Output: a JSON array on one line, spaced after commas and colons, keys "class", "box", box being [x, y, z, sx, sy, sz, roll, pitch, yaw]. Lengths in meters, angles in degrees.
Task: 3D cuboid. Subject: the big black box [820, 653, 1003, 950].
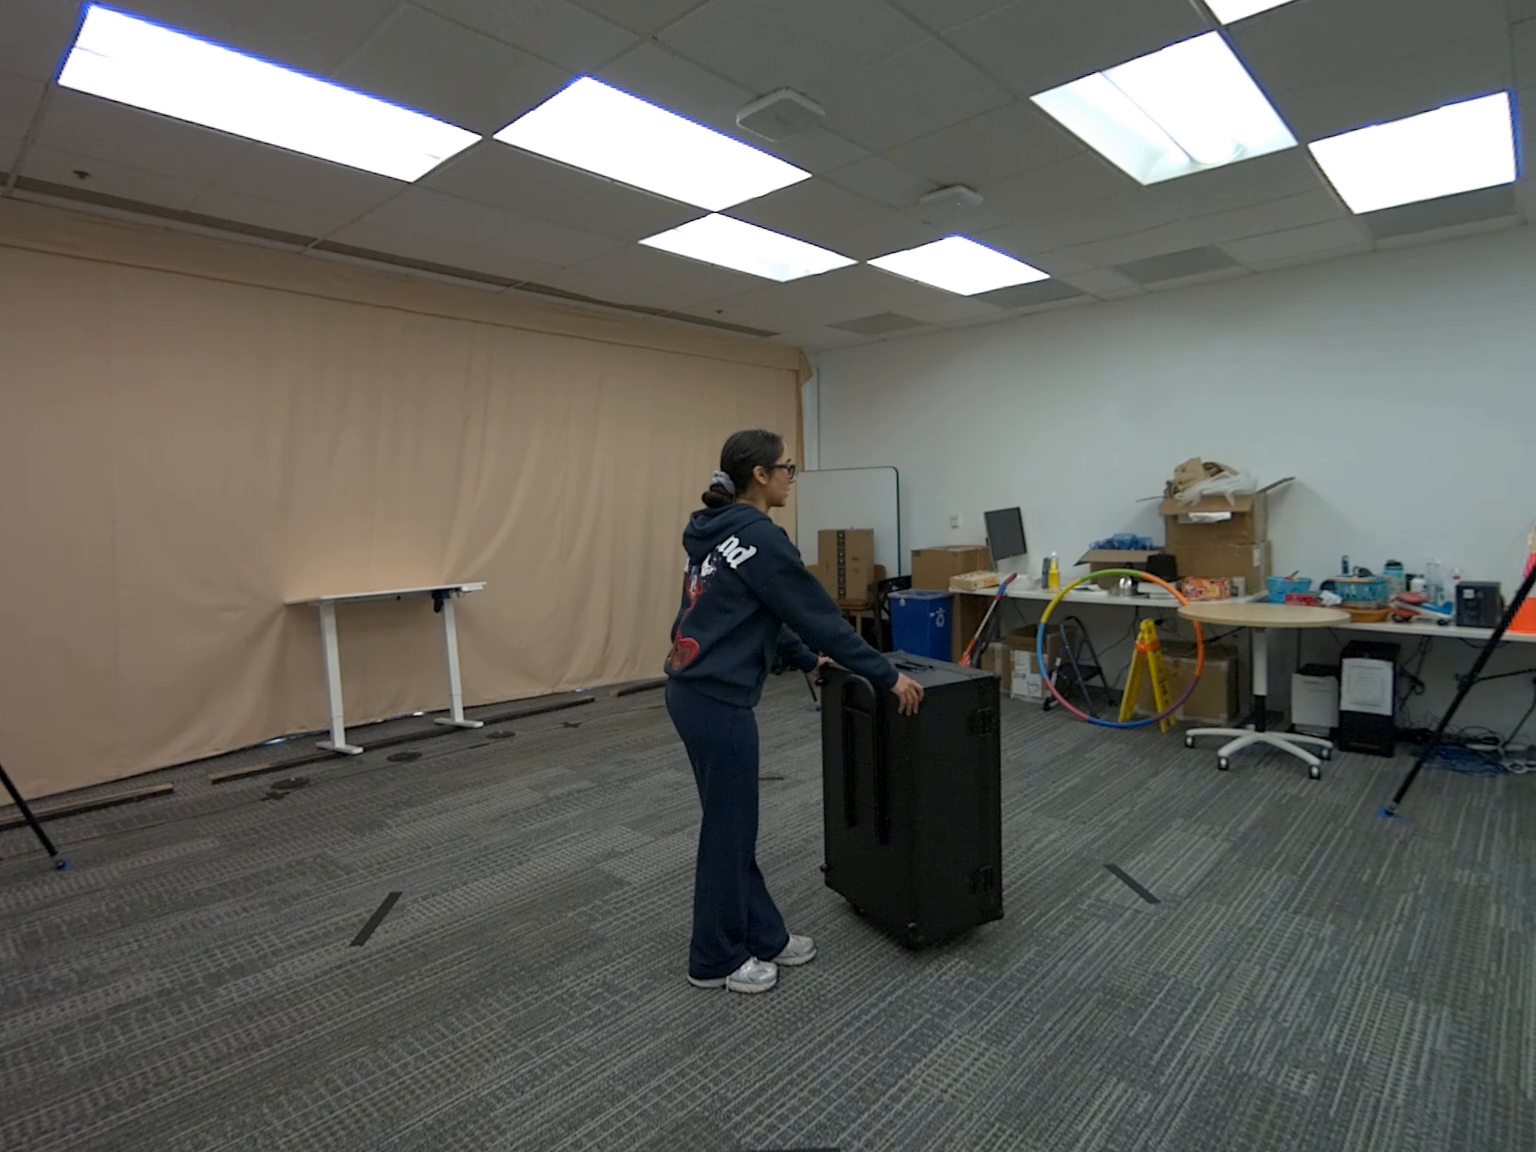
[{"class": "big black box", "box": [0.462, 0.730, 2.765, 0.386, 0.858, 0.536, -5, 6, -29]}]
